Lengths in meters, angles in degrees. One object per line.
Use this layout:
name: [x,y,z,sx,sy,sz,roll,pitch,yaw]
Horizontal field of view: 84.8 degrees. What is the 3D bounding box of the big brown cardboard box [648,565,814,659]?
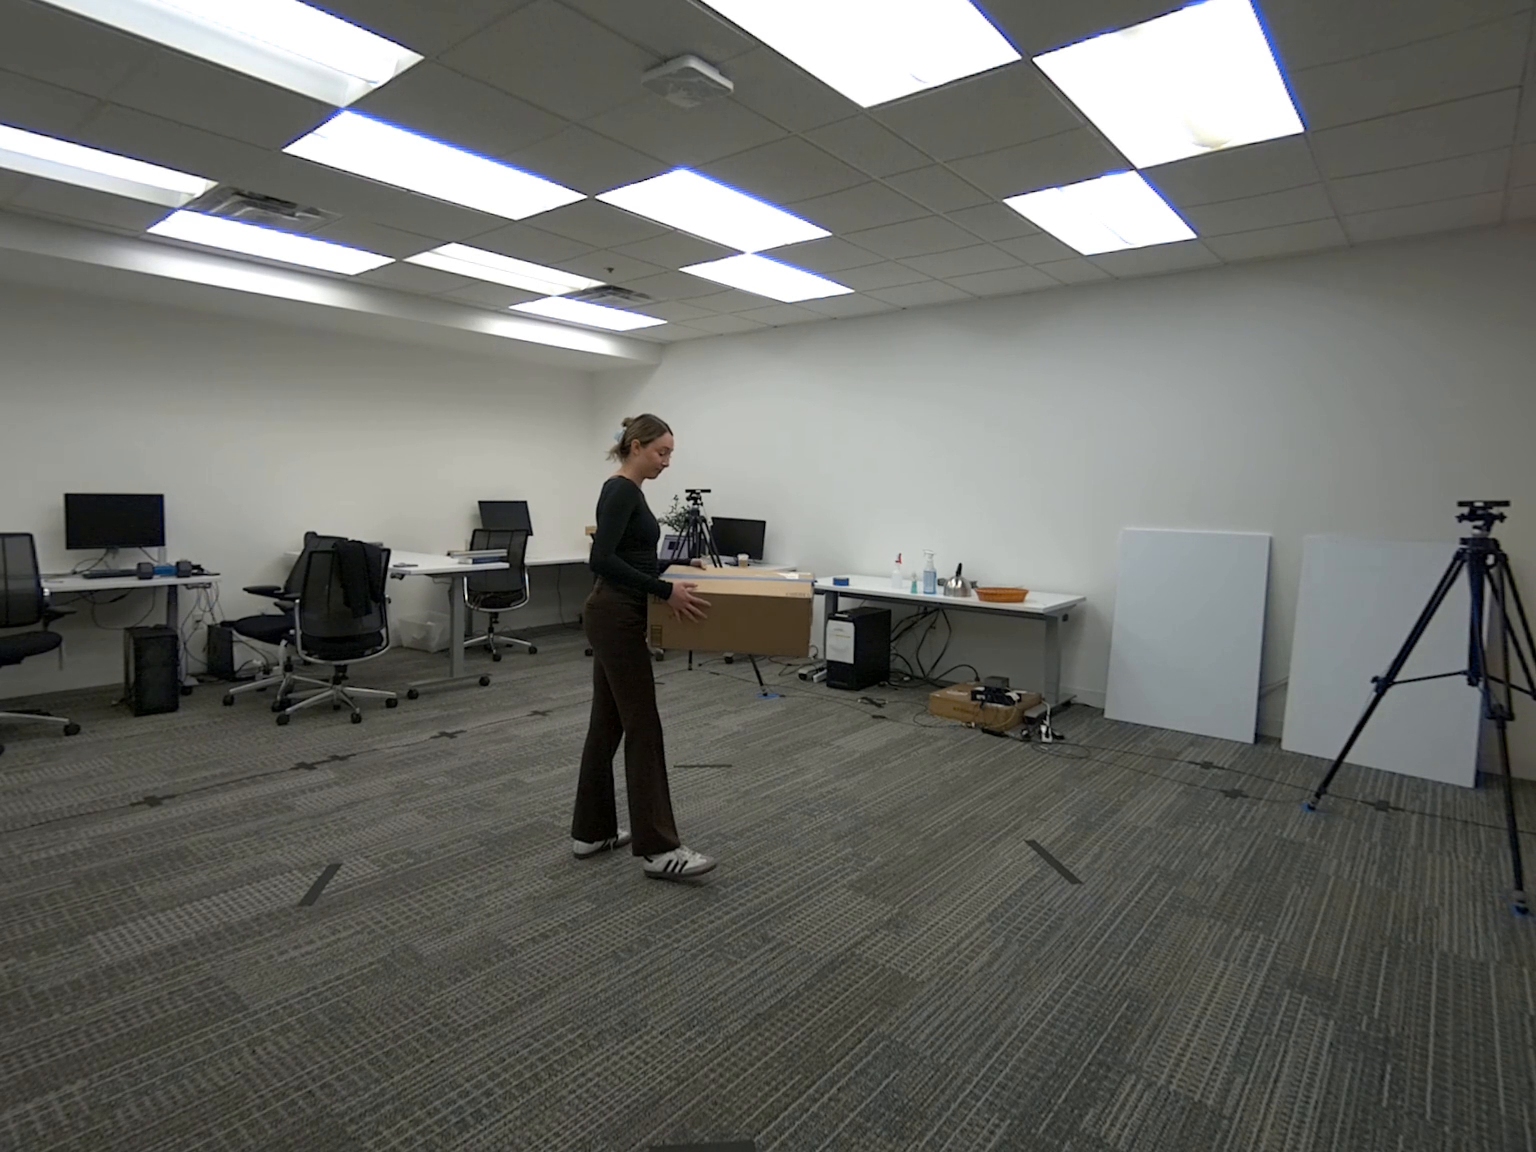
big brown cardboard box: [-0.121,0.116,3.131,0.593,0.231,0.419,2,11,6]
